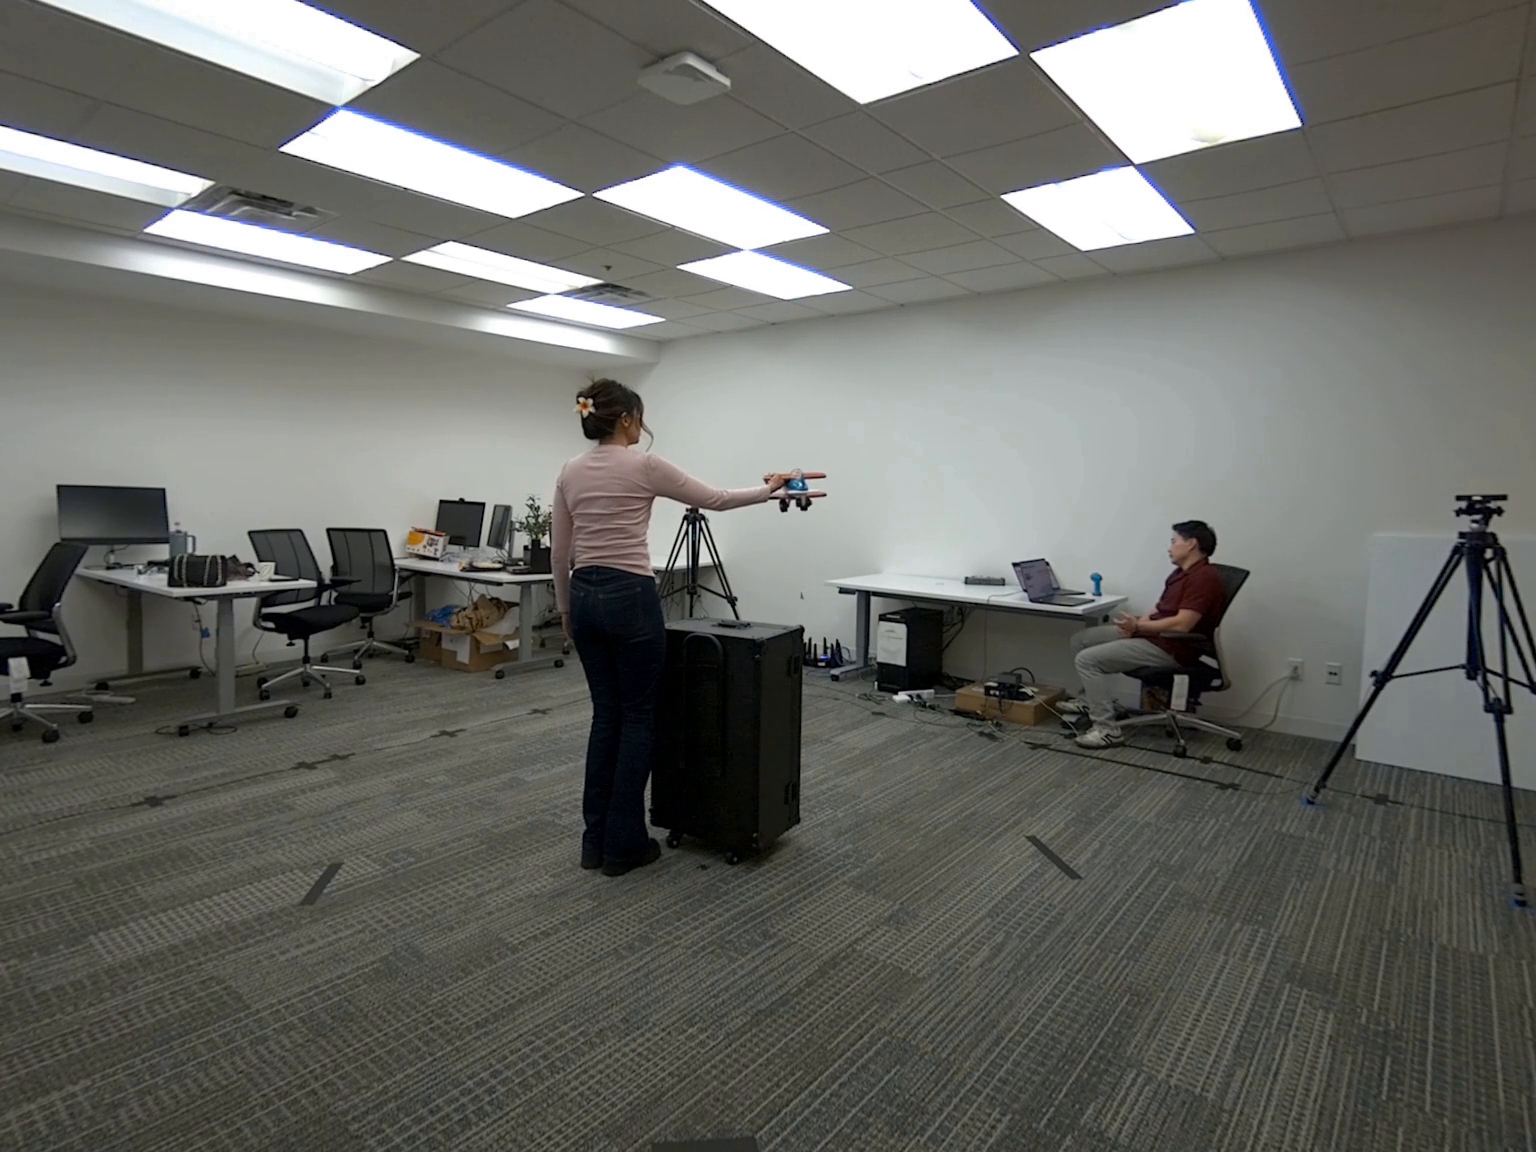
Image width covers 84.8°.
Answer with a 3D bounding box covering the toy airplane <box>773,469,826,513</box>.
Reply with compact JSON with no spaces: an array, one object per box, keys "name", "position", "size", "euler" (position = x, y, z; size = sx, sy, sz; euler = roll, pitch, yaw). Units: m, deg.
[{"name":"toy airplane","position":[0.127,-0.347,3.410],"size":[0.244,0.157,0.266],"euler":[-6,0,-41]}]
